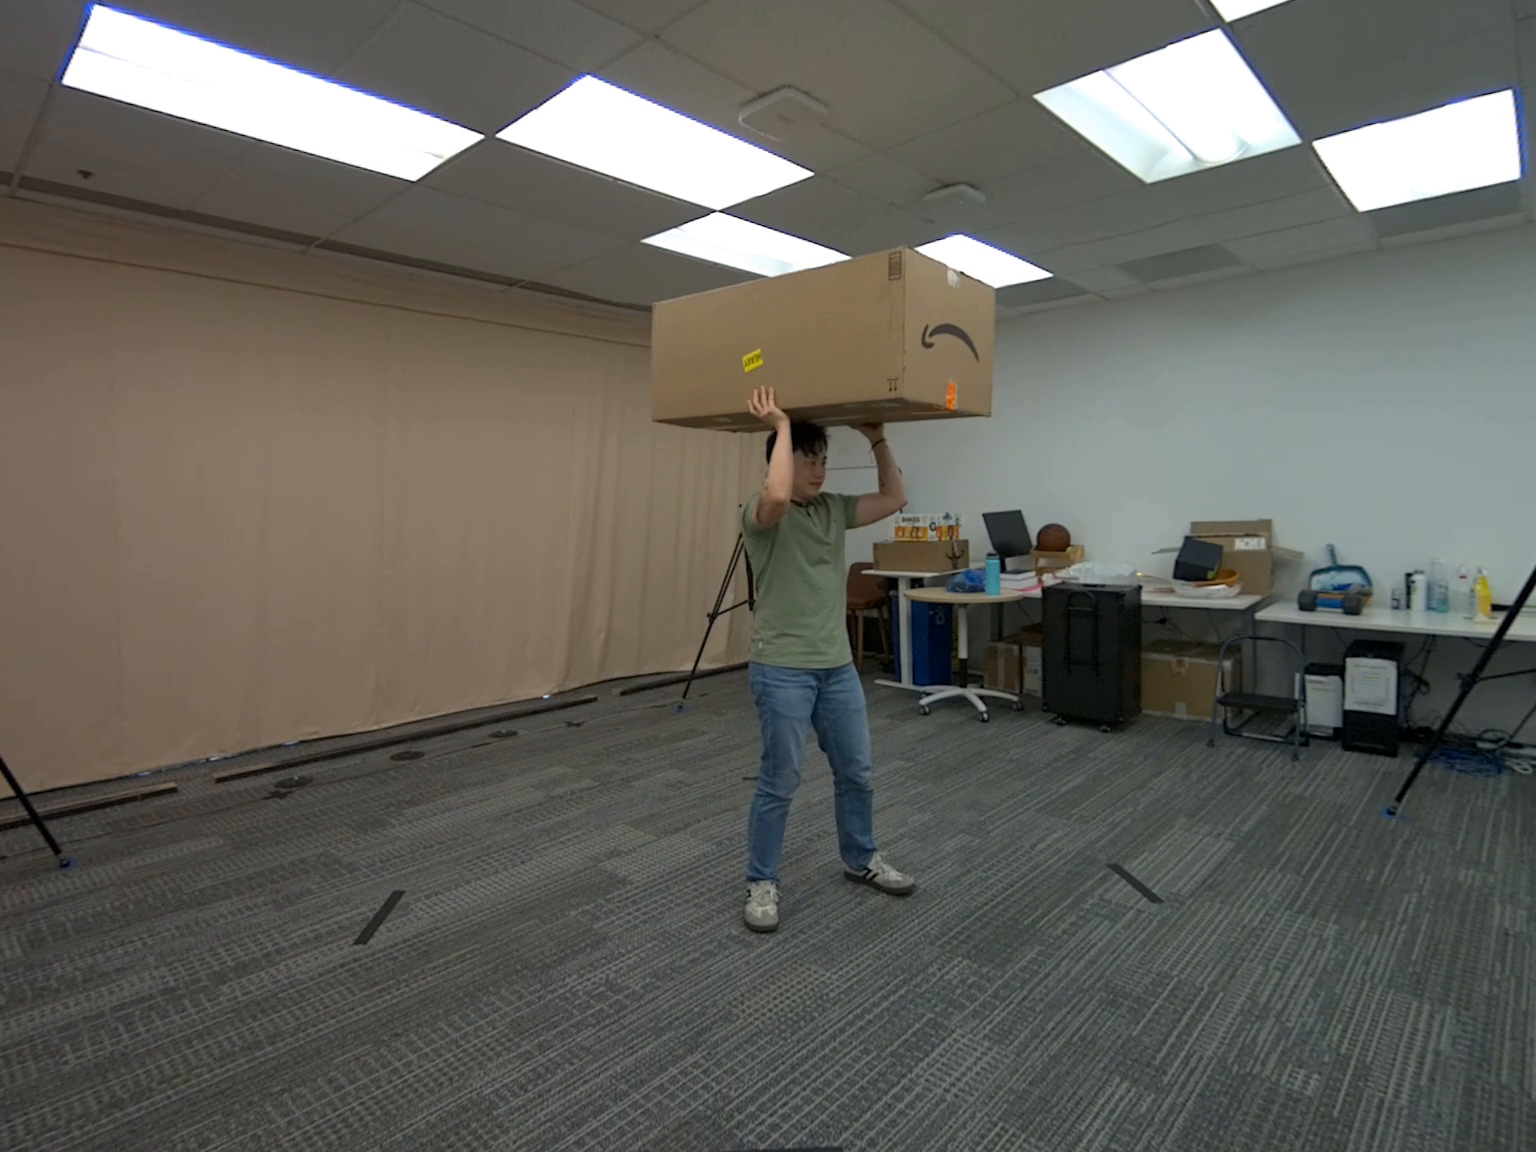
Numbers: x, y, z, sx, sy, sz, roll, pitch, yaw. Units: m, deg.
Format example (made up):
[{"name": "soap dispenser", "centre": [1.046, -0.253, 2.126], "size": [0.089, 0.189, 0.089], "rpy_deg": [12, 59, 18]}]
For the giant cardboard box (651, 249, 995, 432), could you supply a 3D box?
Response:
[{"name": "giant cardboard box", "centre": [0.164, -0.745, 2.888], "size": [1.060, 0.425, 0.560], "rpy_deg": [5, 5, 41]}]
